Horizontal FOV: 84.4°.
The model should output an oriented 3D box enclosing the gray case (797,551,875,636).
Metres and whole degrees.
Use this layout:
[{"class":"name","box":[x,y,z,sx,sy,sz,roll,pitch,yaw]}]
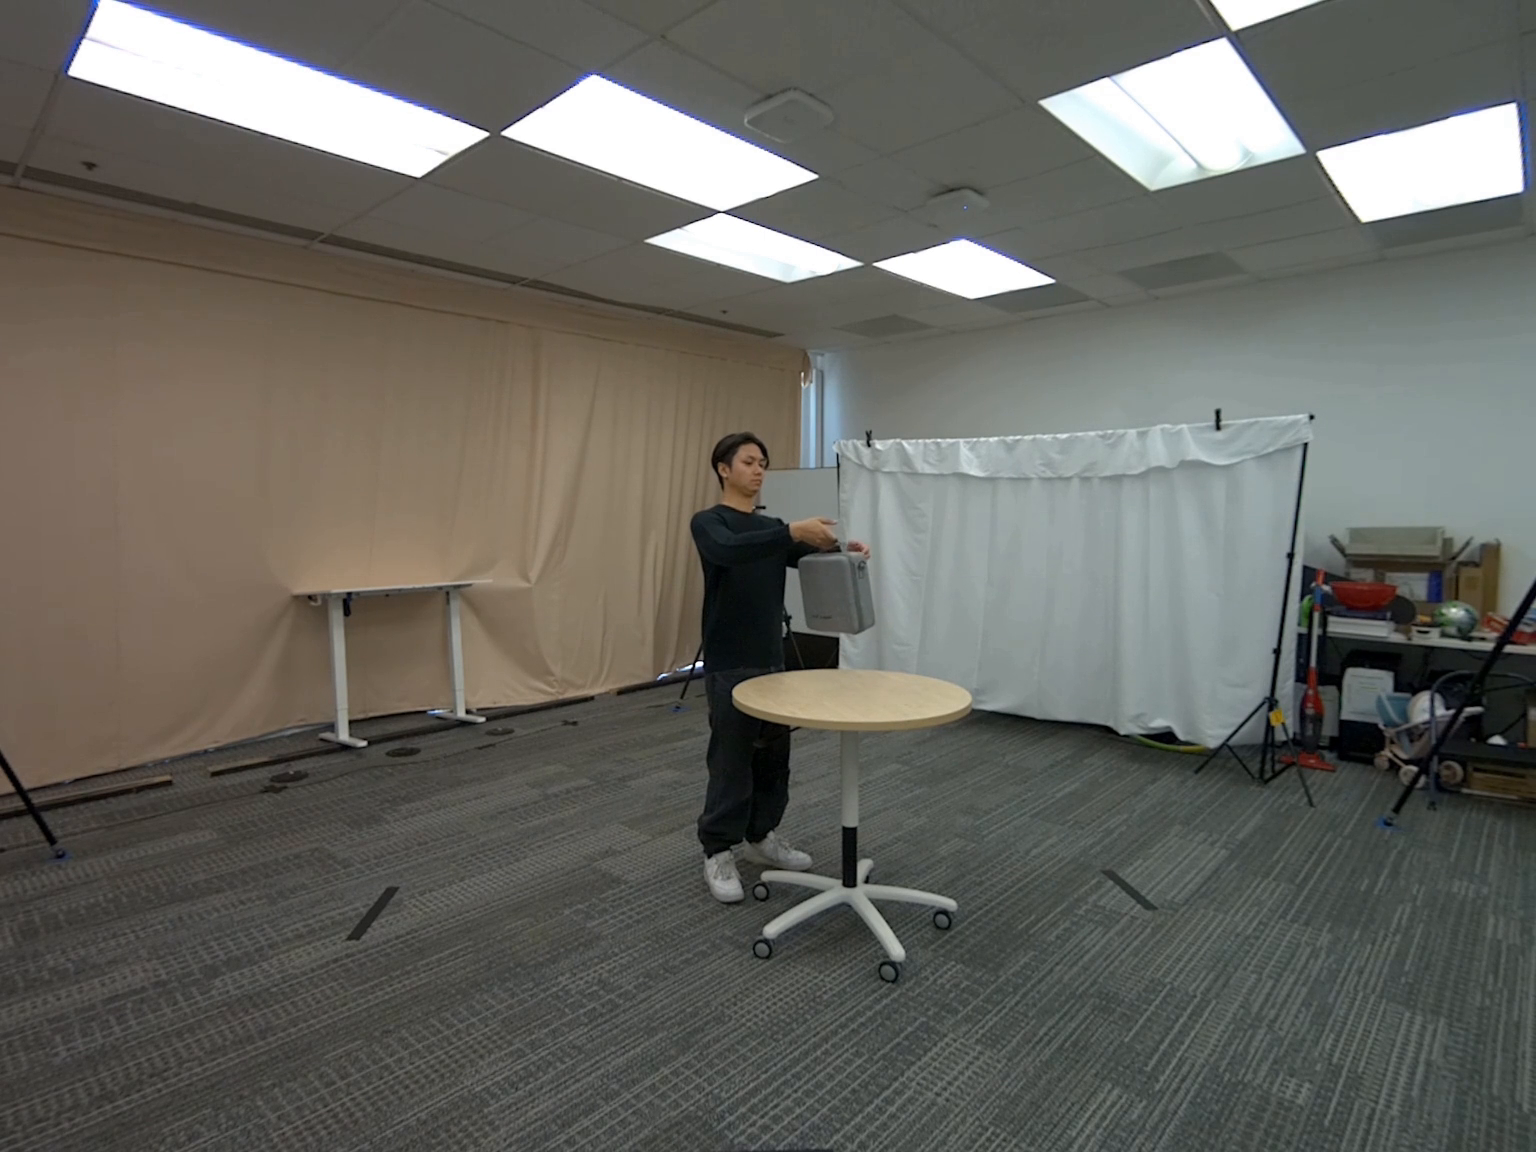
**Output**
[{"class":"gray case","box":[0.223,0.050,2.744,0.101,0.260,0.264,-7,3,-32]}]
